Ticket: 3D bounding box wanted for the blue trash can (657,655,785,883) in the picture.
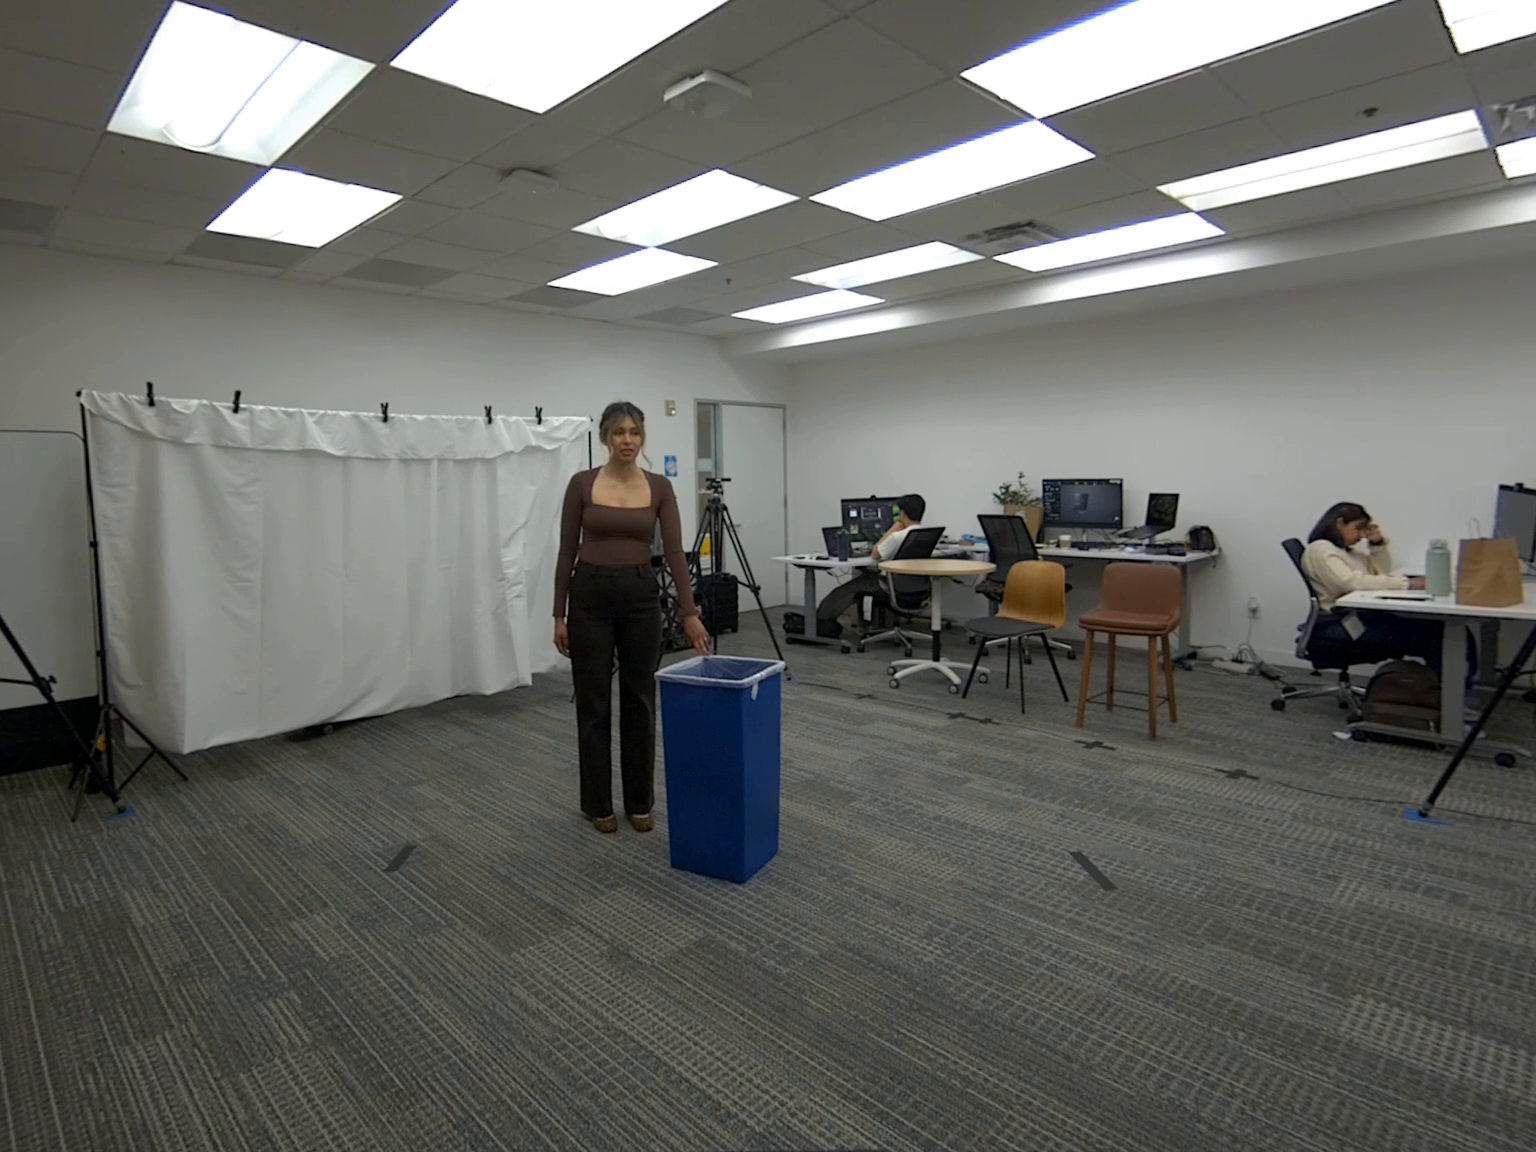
[{"bbox_3d":[-0.165,0.683,3.118,0.383,0.711,0.370,2,4,27],"label":"blue trash can"}]
